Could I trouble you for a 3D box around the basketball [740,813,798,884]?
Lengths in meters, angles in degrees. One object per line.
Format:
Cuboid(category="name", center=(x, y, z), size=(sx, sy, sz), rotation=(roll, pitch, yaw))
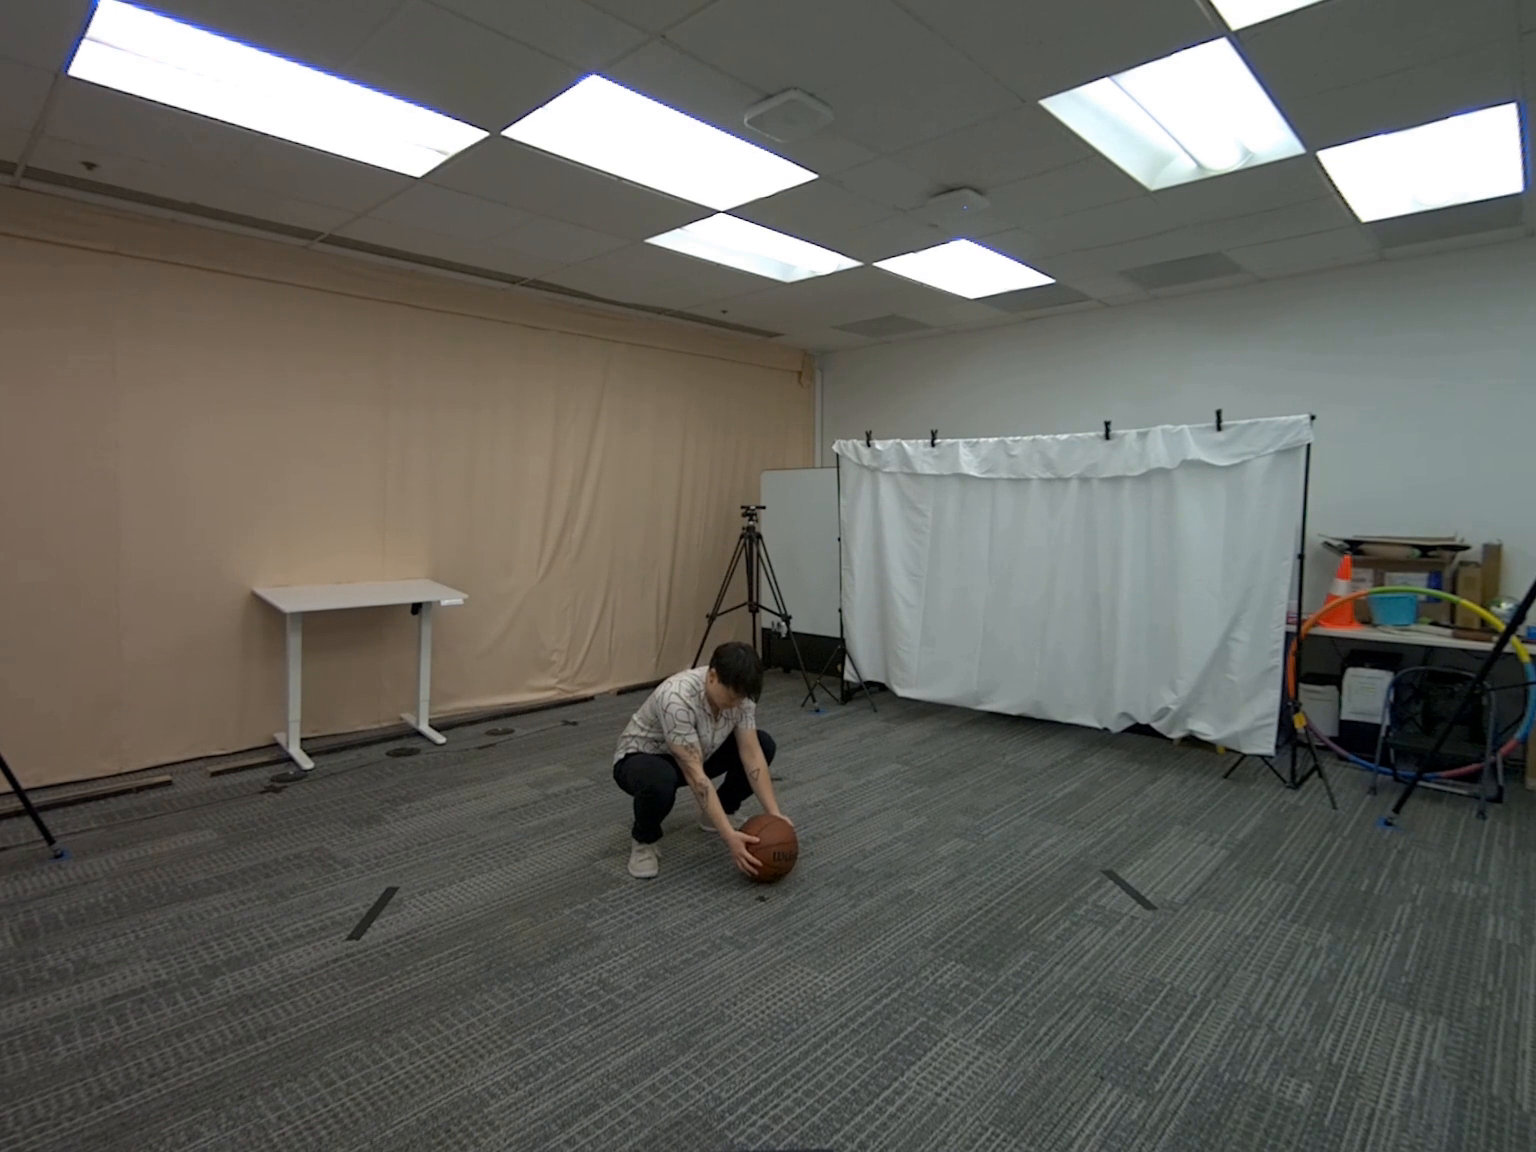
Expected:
Cuboid(category="basketball", center=(-0.005, 0.994, 3.126), size=(0.236, 0.235, 0.237), rotation=(0, 4, -2))
